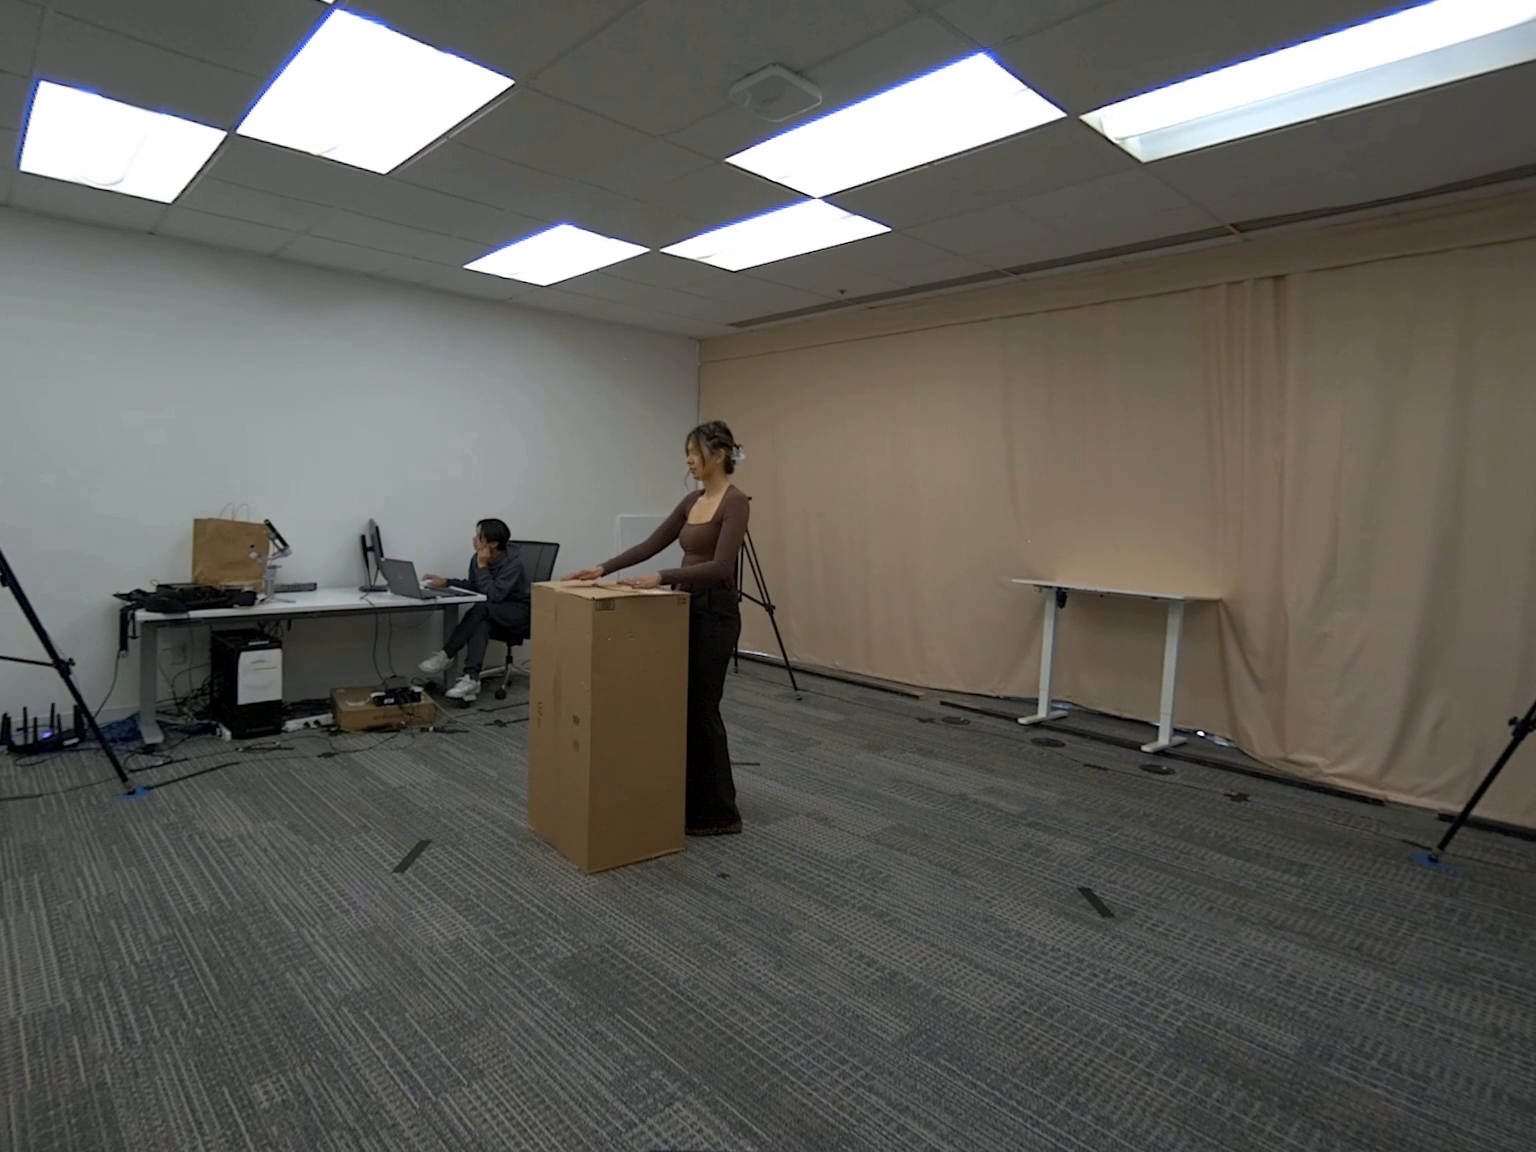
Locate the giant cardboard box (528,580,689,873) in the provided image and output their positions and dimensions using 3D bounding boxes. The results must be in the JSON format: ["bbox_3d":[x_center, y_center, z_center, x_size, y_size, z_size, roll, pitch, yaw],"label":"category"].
[{"bbox_3d":[-0.663,0.556,3.403,0.437,1.025,0.598,0,3,-36],"label":"giant cardboard box"}]
